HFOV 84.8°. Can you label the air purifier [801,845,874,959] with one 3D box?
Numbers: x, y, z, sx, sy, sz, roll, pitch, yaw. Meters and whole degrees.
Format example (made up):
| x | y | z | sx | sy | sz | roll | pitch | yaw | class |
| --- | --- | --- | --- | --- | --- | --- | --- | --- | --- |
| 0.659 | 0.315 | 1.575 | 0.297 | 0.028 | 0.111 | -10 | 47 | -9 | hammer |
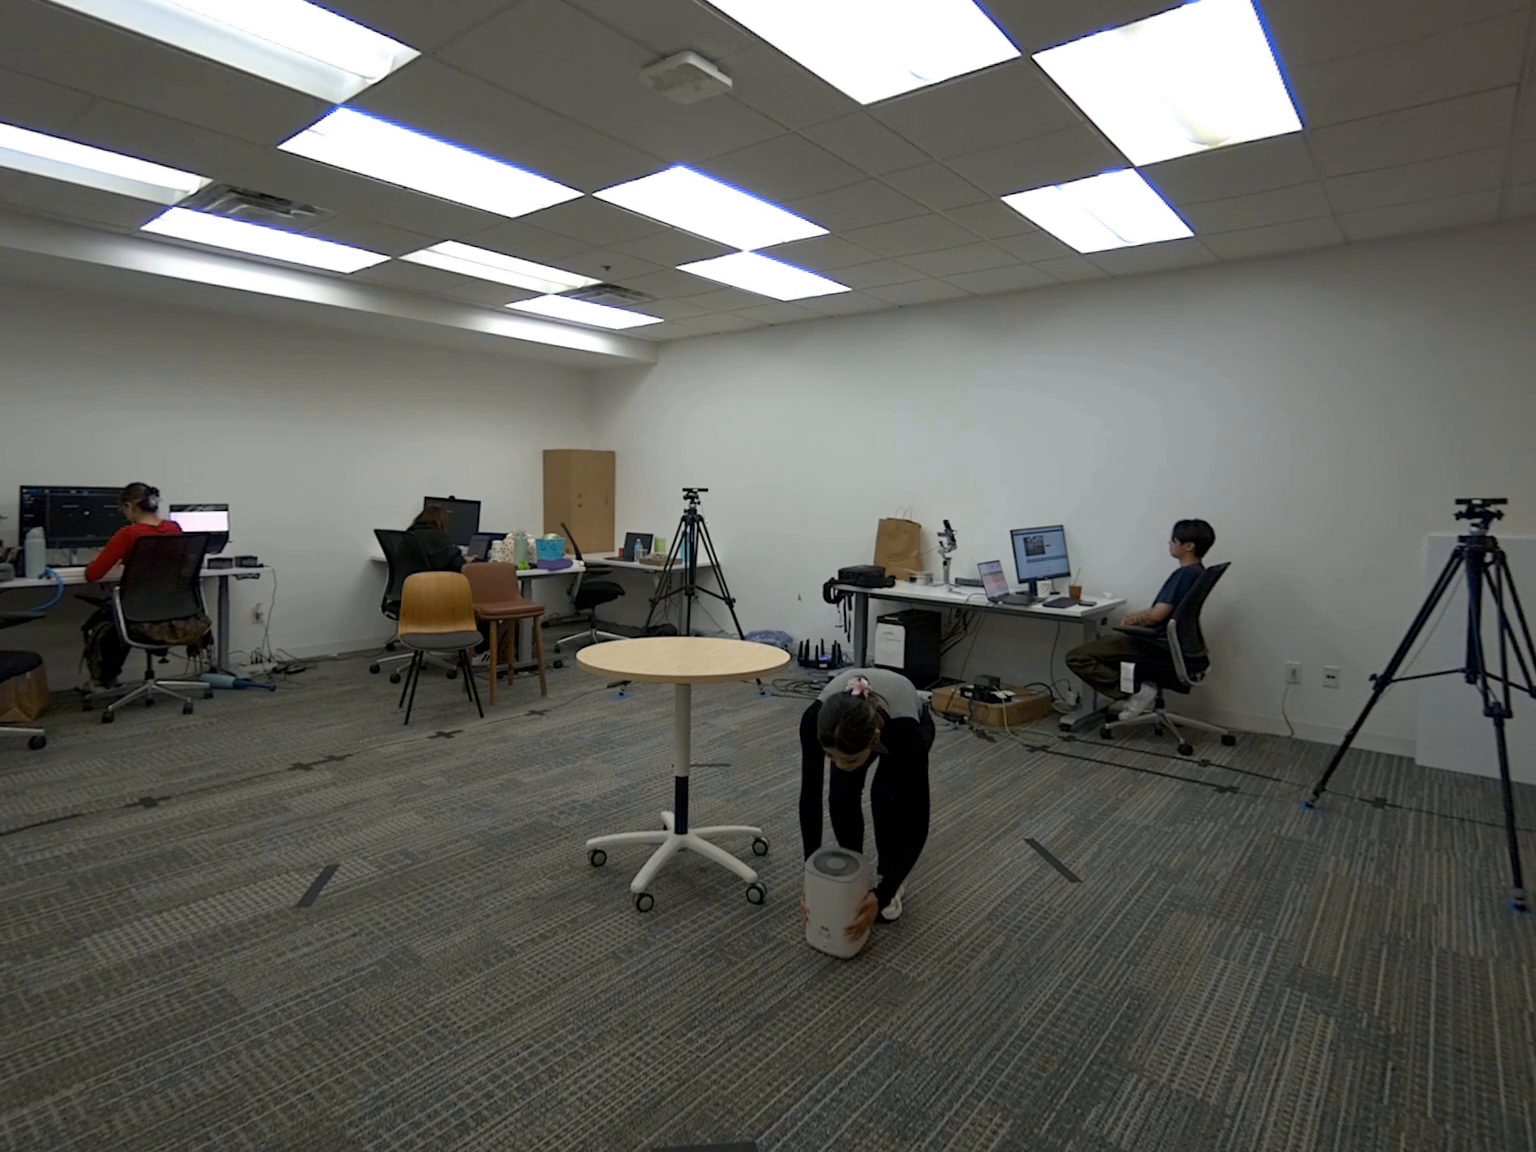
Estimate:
| x | y | z | sx | sy | sz | roll | pitch | yaw | class |
| --- | --- | --- | --- | --- | --- | --- | --- | --- | --- |
| 0.211 | 0.982 | 2.592 | 0.176 | 0.262 | 0.168 | 5 | 13 | 29 | air purifier |
